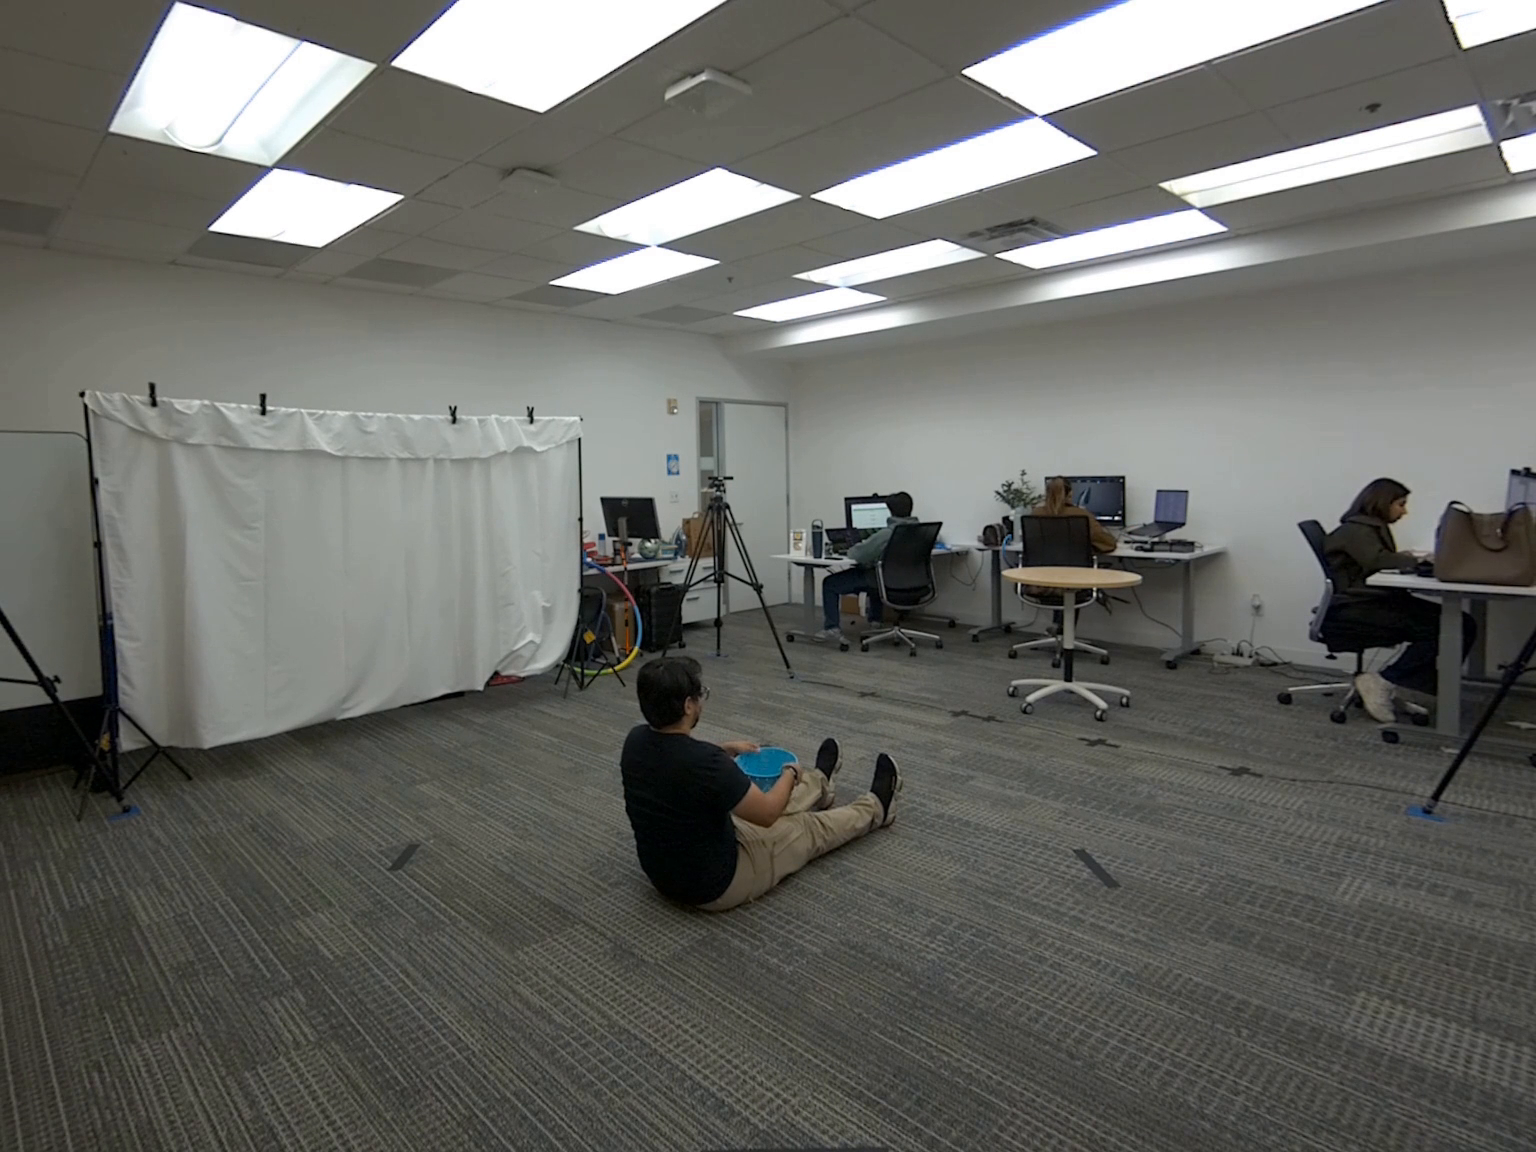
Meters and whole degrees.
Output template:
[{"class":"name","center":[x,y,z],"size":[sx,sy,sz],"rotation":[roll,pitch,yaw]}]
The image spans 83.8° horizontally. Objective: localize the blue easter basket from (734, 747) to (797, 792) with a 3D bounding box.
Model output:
[{"class":"blue easter basket","center":[0.005,0.752,3.109],"size":[0.243,0.154,0.246],"rotation":[-3,12,-1]}]
